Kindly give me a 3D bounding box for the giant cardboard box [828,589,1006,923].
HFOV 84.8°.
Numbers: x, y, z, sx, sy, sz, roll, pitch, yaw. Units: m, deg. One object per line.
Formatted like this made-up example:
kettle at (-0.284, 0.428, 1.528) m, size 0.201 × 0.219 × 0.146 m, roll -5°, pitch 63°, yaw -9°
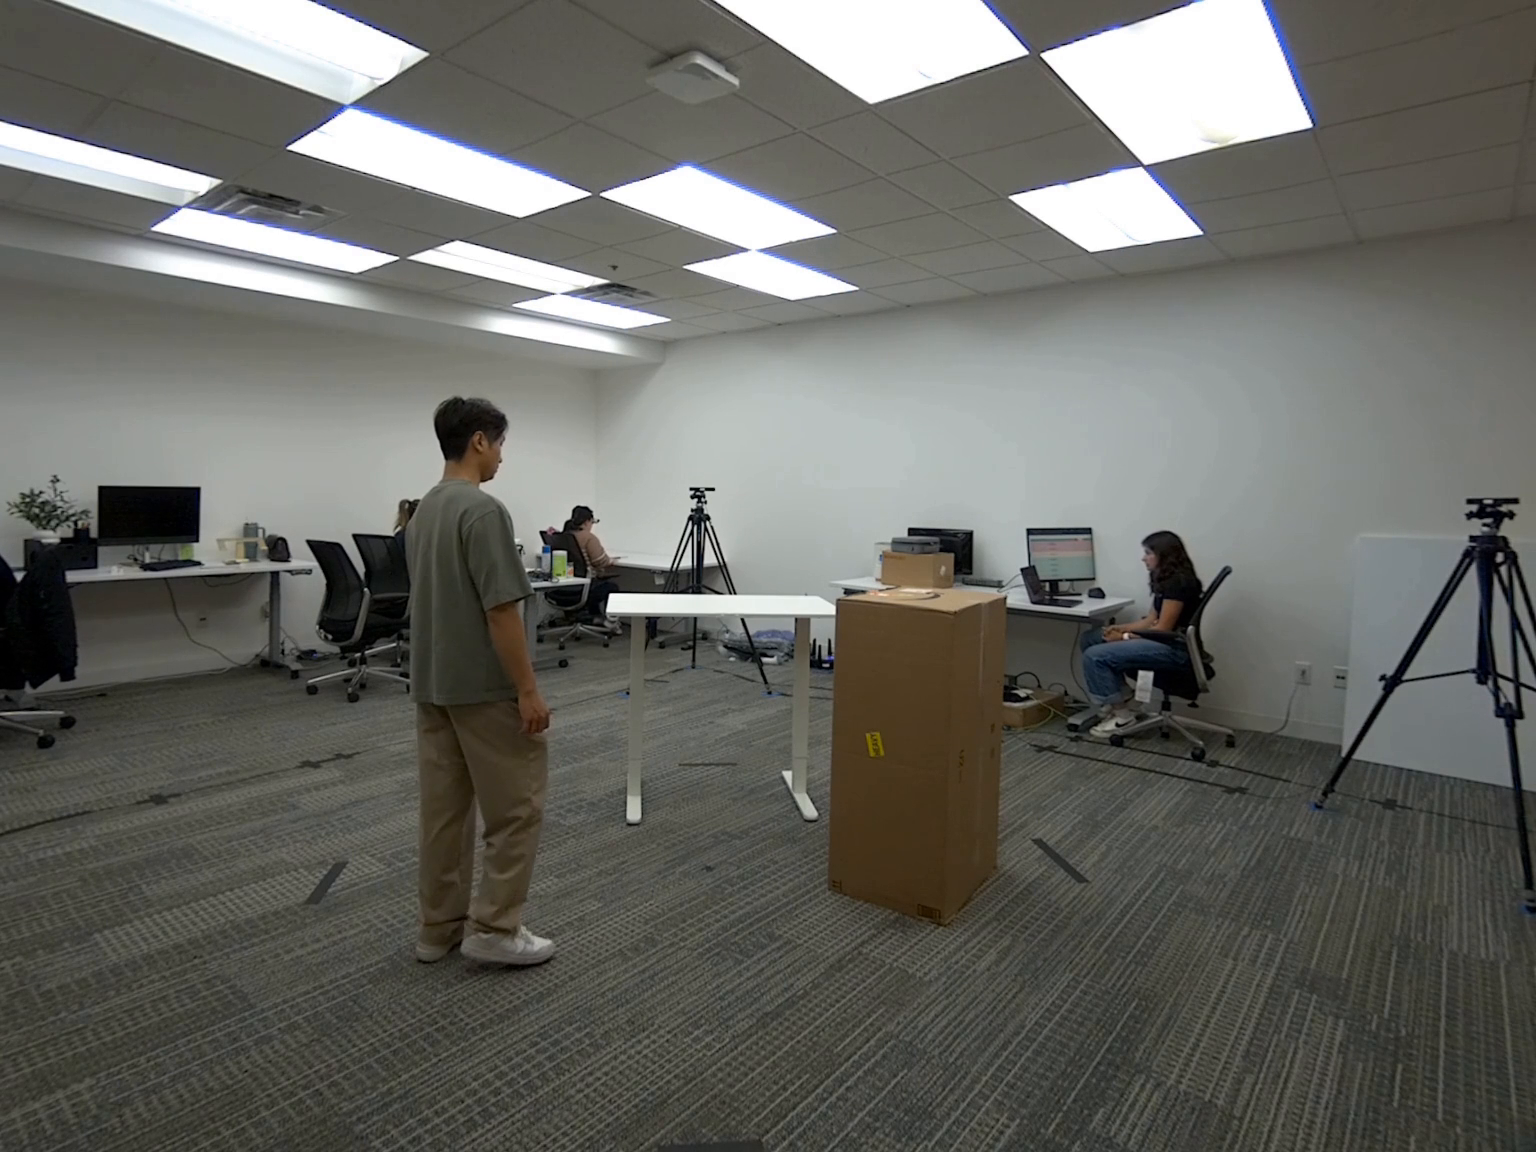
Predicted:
giant cardboard box at (0.540, 0.579, 3.058) m, size 0.439 × 1.023 × 0.562 m, roll 3°, pitch 4°, yaw 33°
